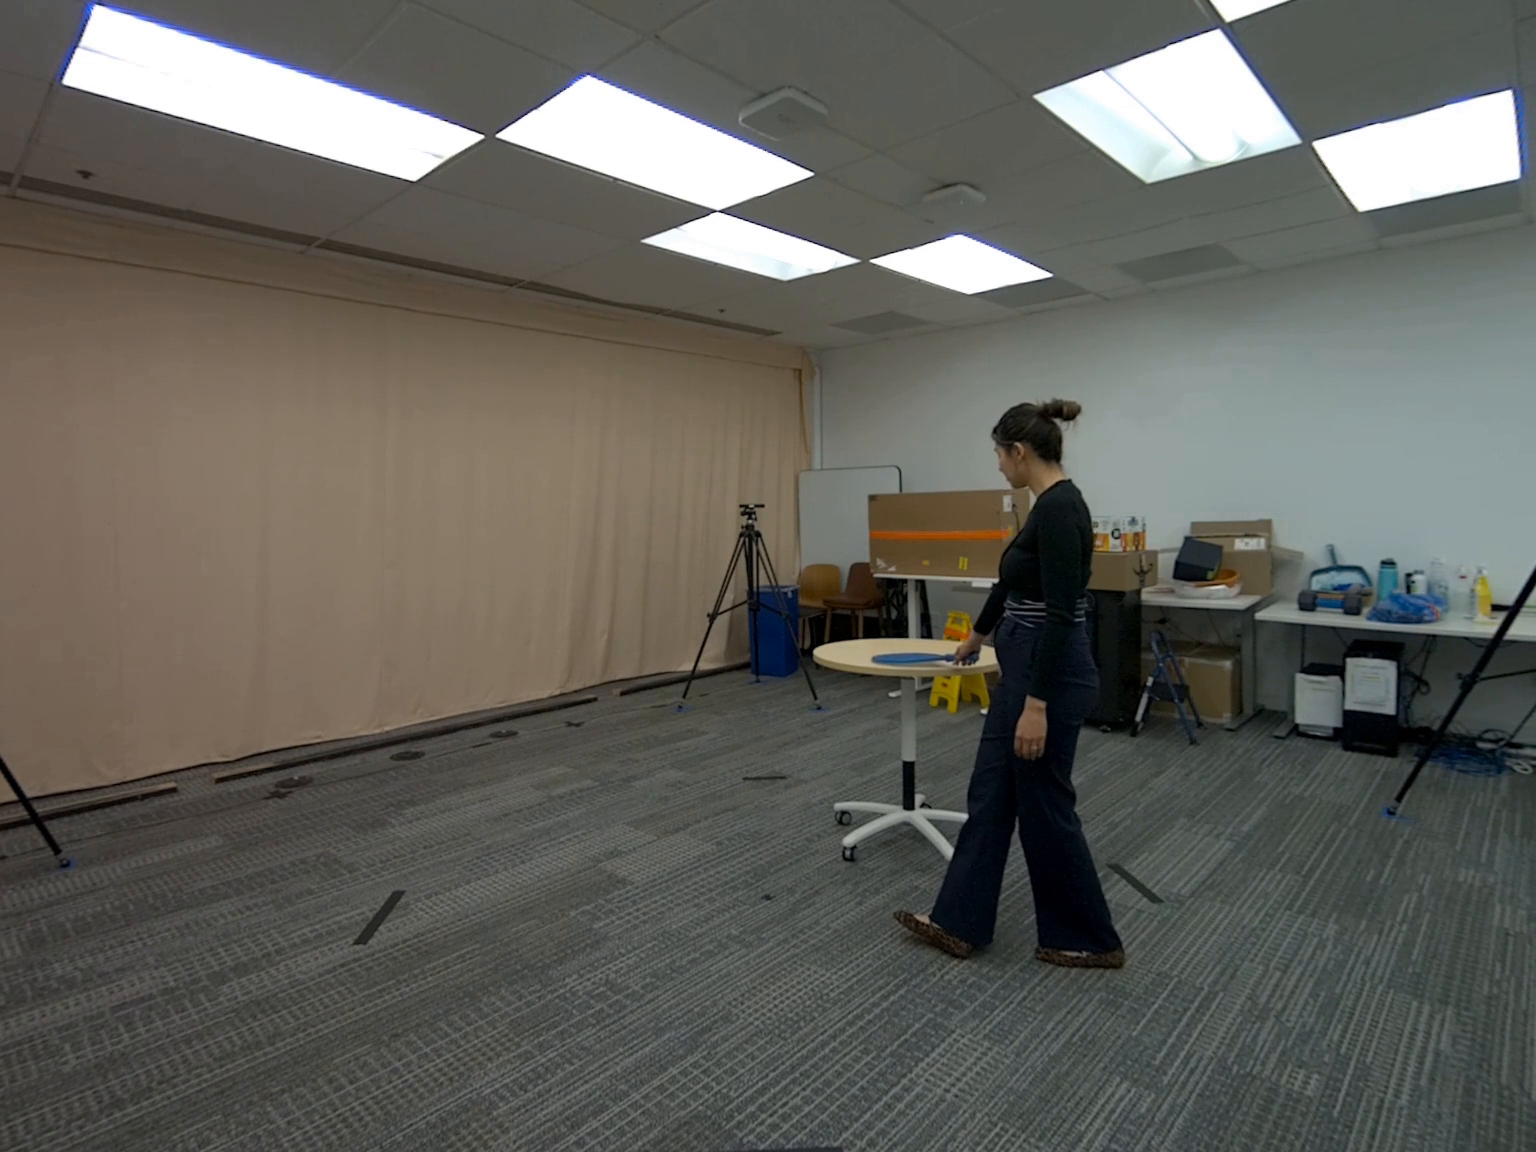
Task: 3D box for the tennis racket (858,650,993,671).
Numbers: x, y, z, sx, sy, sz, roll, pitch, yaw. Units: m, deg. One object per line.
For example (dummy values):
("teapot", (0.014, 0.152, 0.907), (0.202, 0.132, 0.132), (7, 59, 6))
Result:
("tennis racket", (0.575, 0.308, 3.130), (0.446, 0.032, 0.207), (-3, 1, 45))
